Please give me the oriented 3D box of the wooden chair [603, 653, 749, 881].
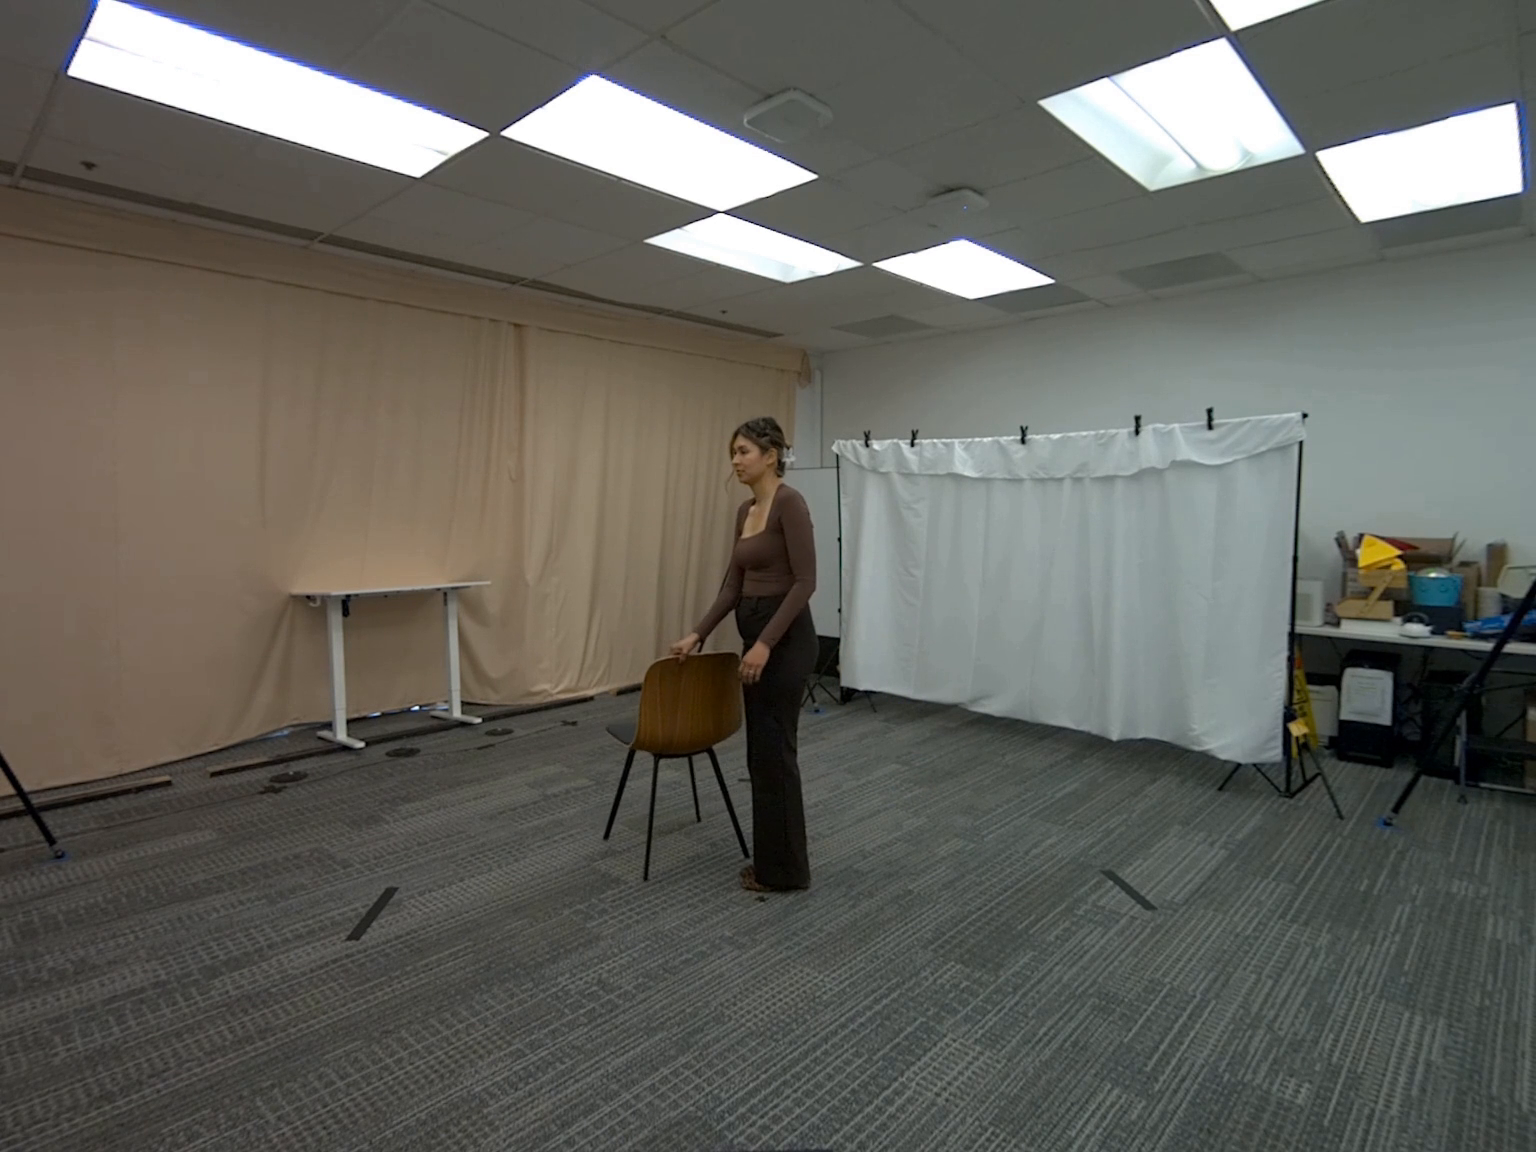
[{"bbox_3d":[-0.381,0.683,3.411,0.466,0.873,0.539,-3,9,-29],"label":"wooden chair"}]
